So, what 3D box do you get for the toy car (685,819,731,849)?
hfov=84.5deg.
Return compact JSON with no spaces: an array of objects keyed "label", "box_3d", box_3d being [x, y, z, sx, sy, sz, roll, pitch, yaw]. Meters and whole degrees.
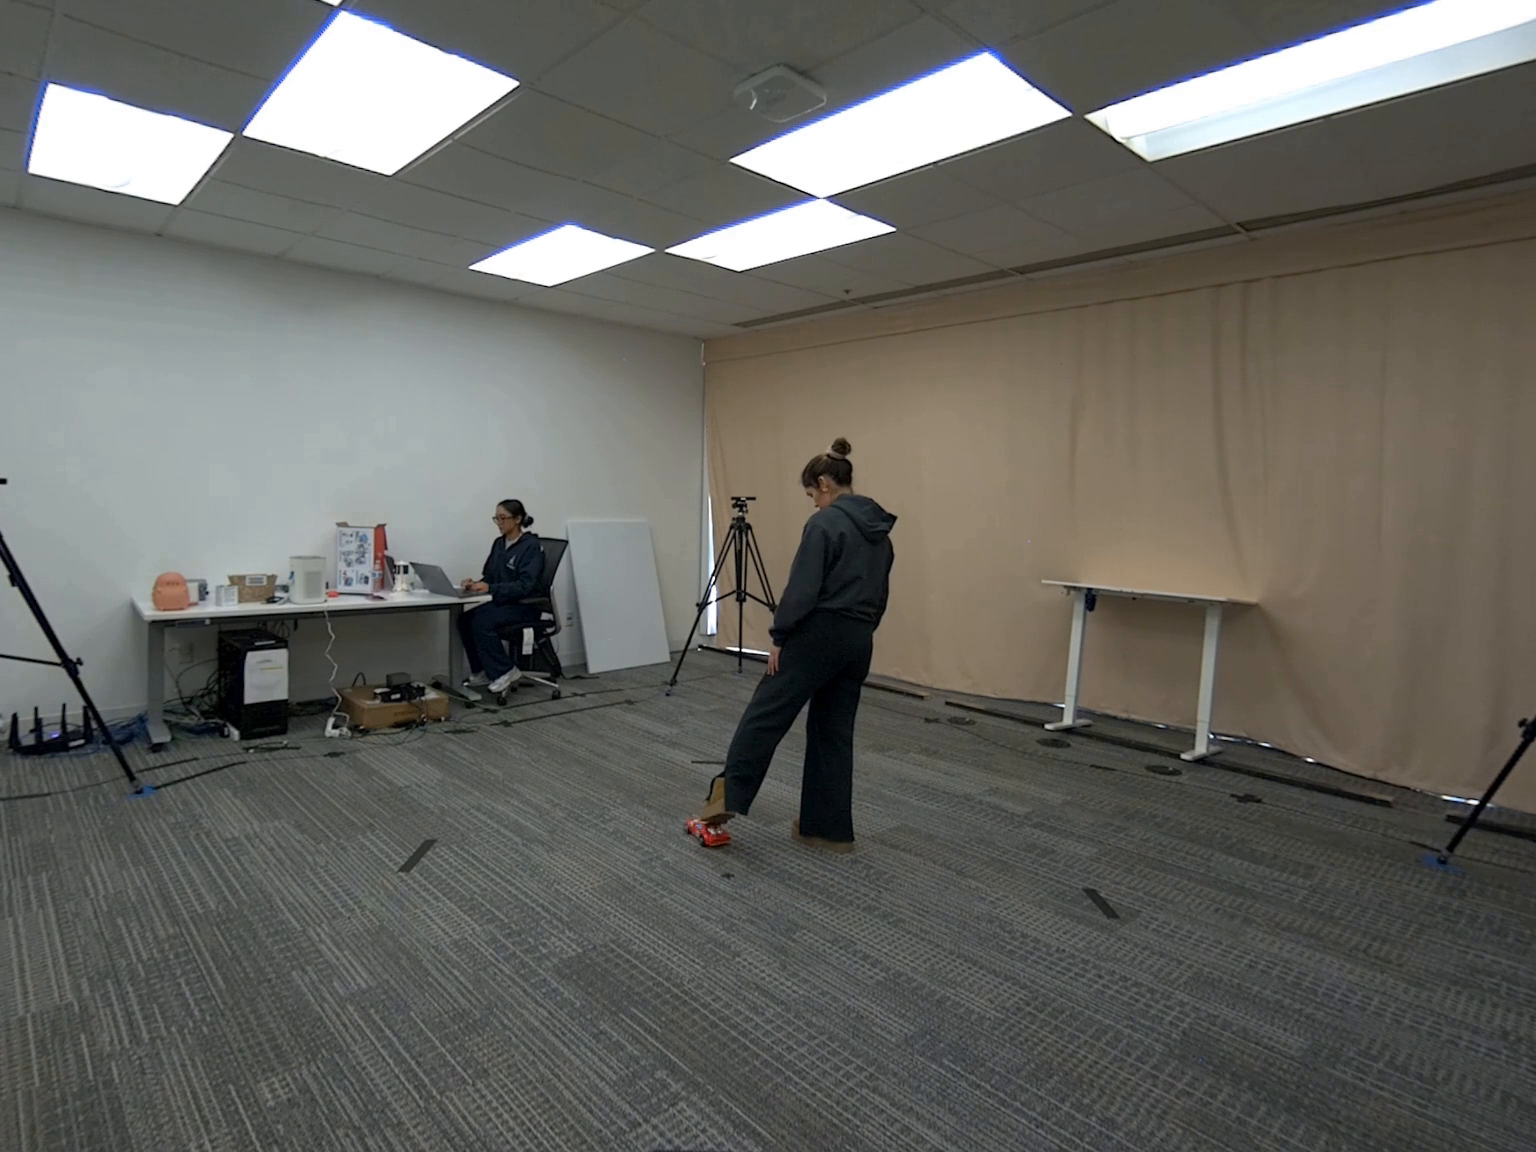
[{"label":"toy car","box_3d":[-0.254,1.038,3.440,0.127,0.083,0.259,1,-5,-31]}]
